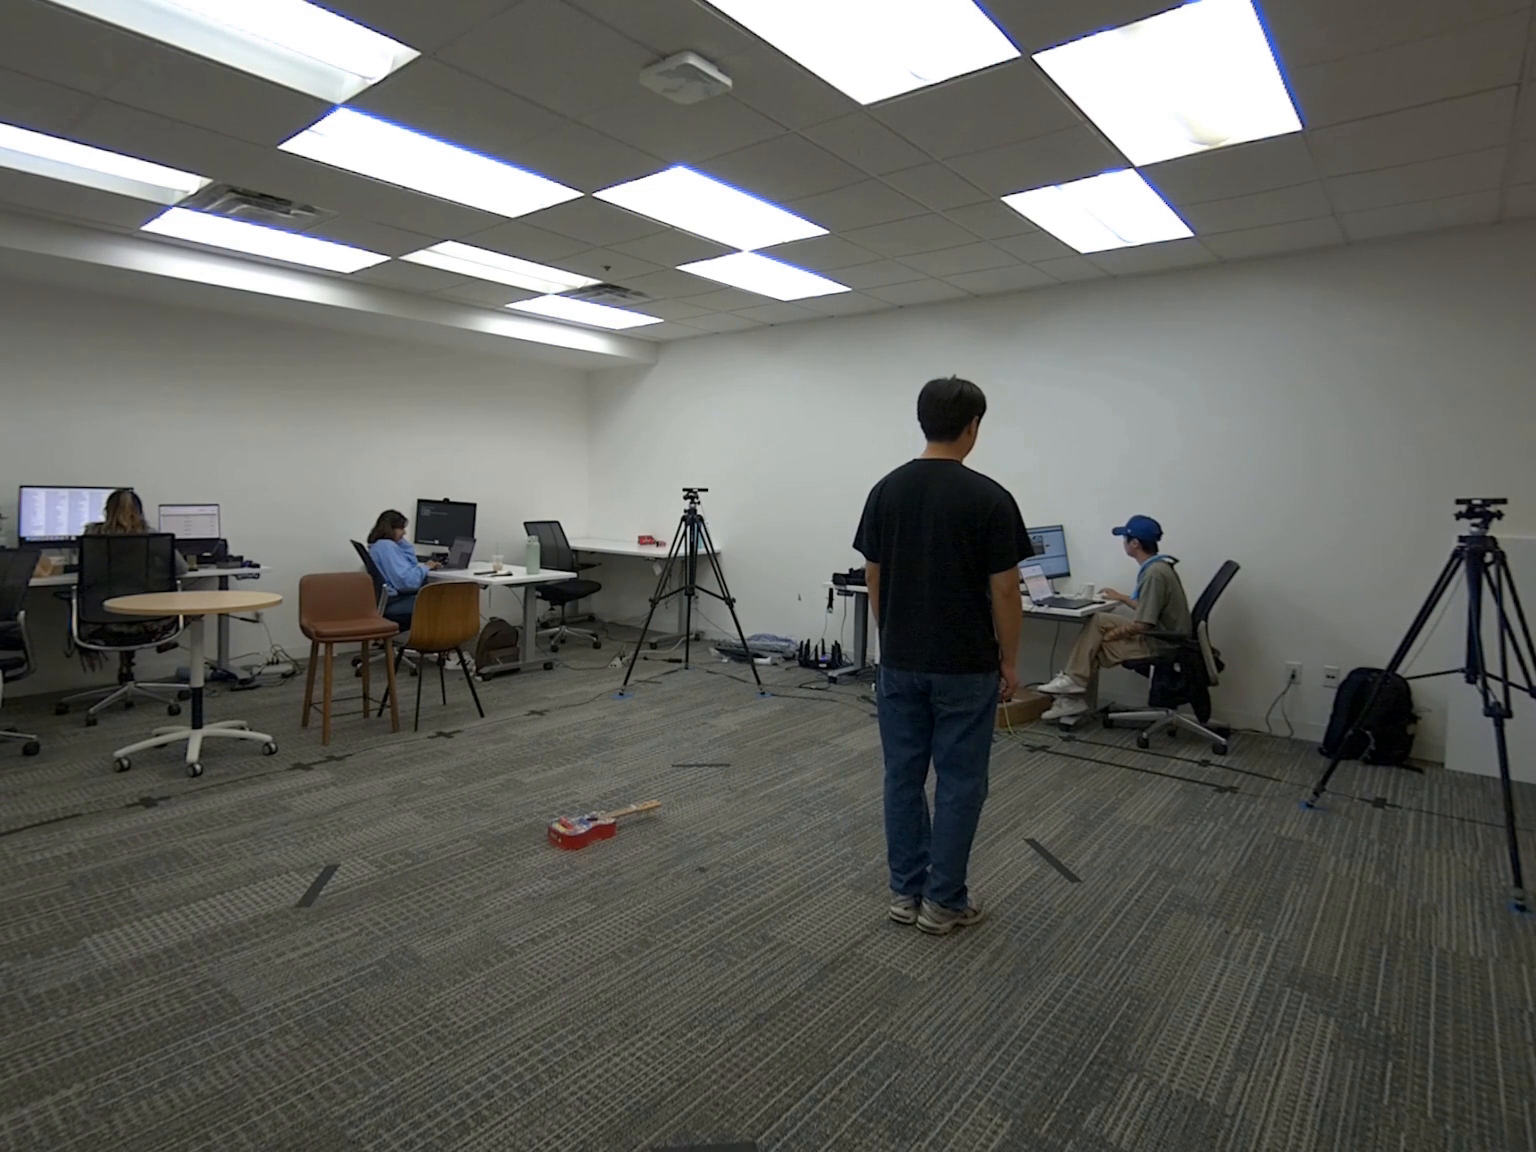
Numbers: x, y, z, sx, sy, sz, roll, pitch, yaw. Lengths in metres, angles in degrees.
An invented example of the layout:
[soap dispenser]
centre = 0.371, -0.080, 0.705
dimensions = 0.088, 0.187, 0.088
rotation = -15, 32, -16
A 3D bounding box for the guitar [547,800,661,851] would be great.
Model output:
[guitar]
centre = -0.648, 0.997, 3.432
dimensions = 0.485, 0.070, 0.199
rotation = -3, 6, -31
